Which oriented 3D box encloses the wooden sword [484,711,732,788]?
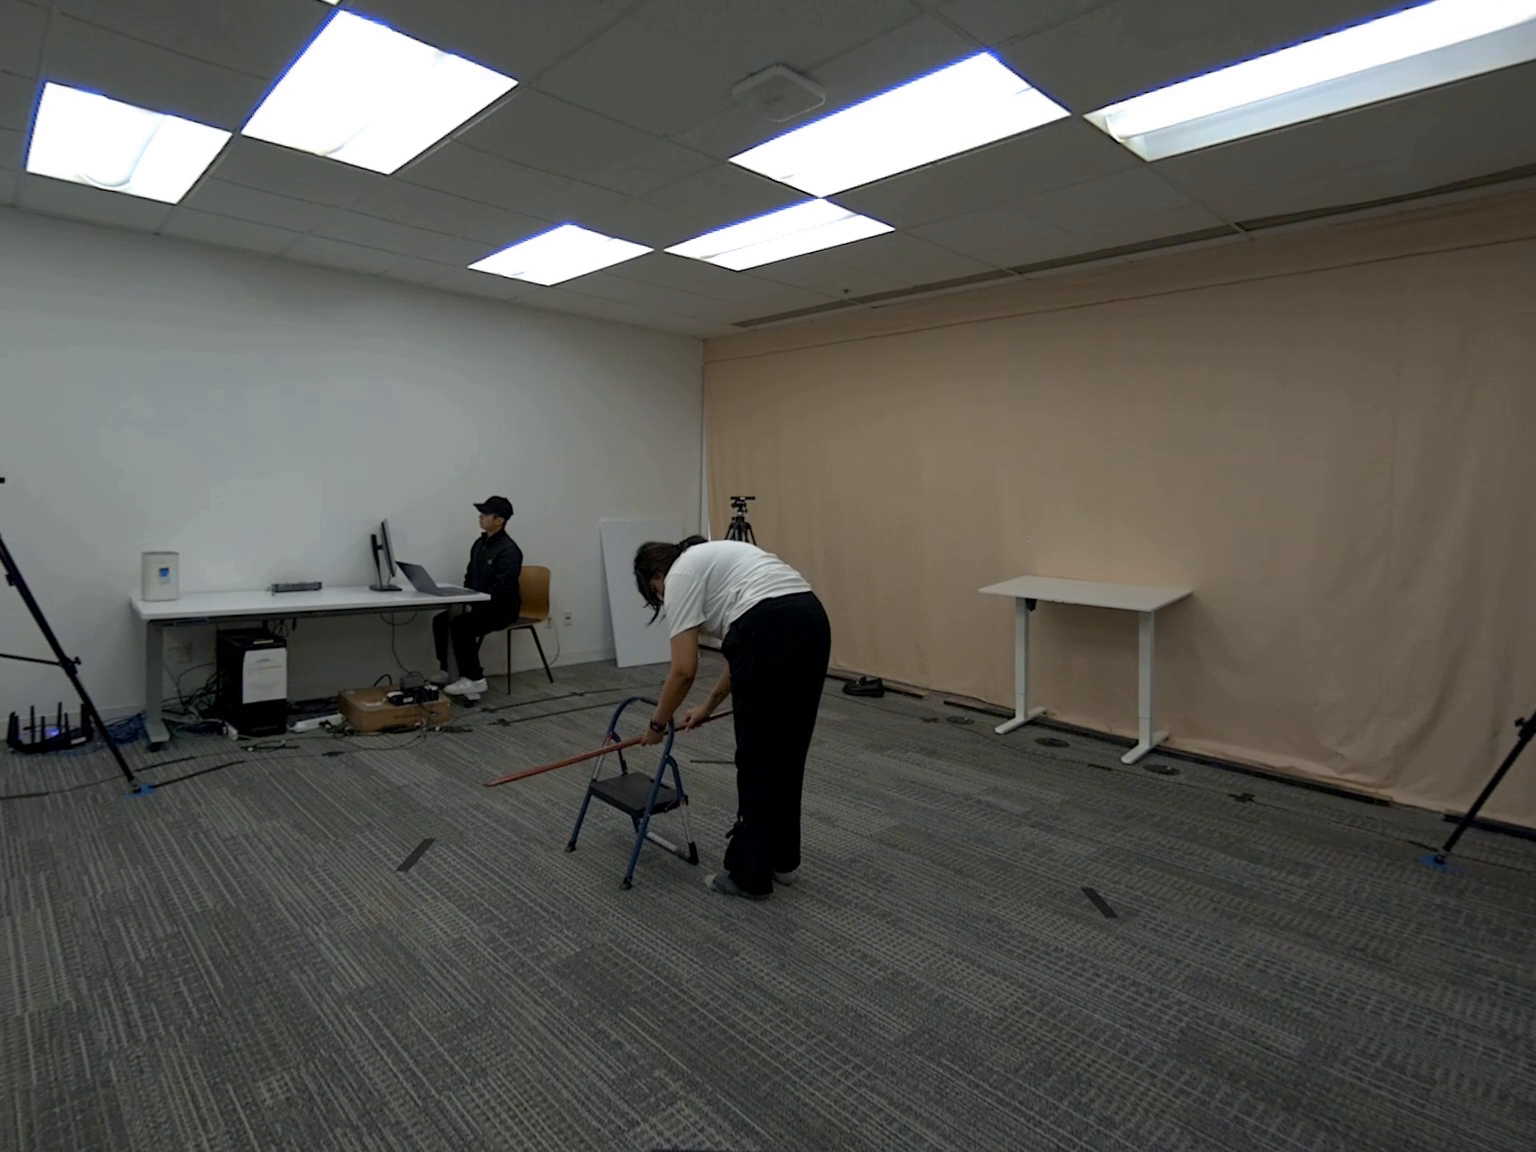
[{"bbox_3d":[-0.549,0.636,3.136,1.009,0.024,0.053,-10,43,-25],"label":"wooden sword"}]
